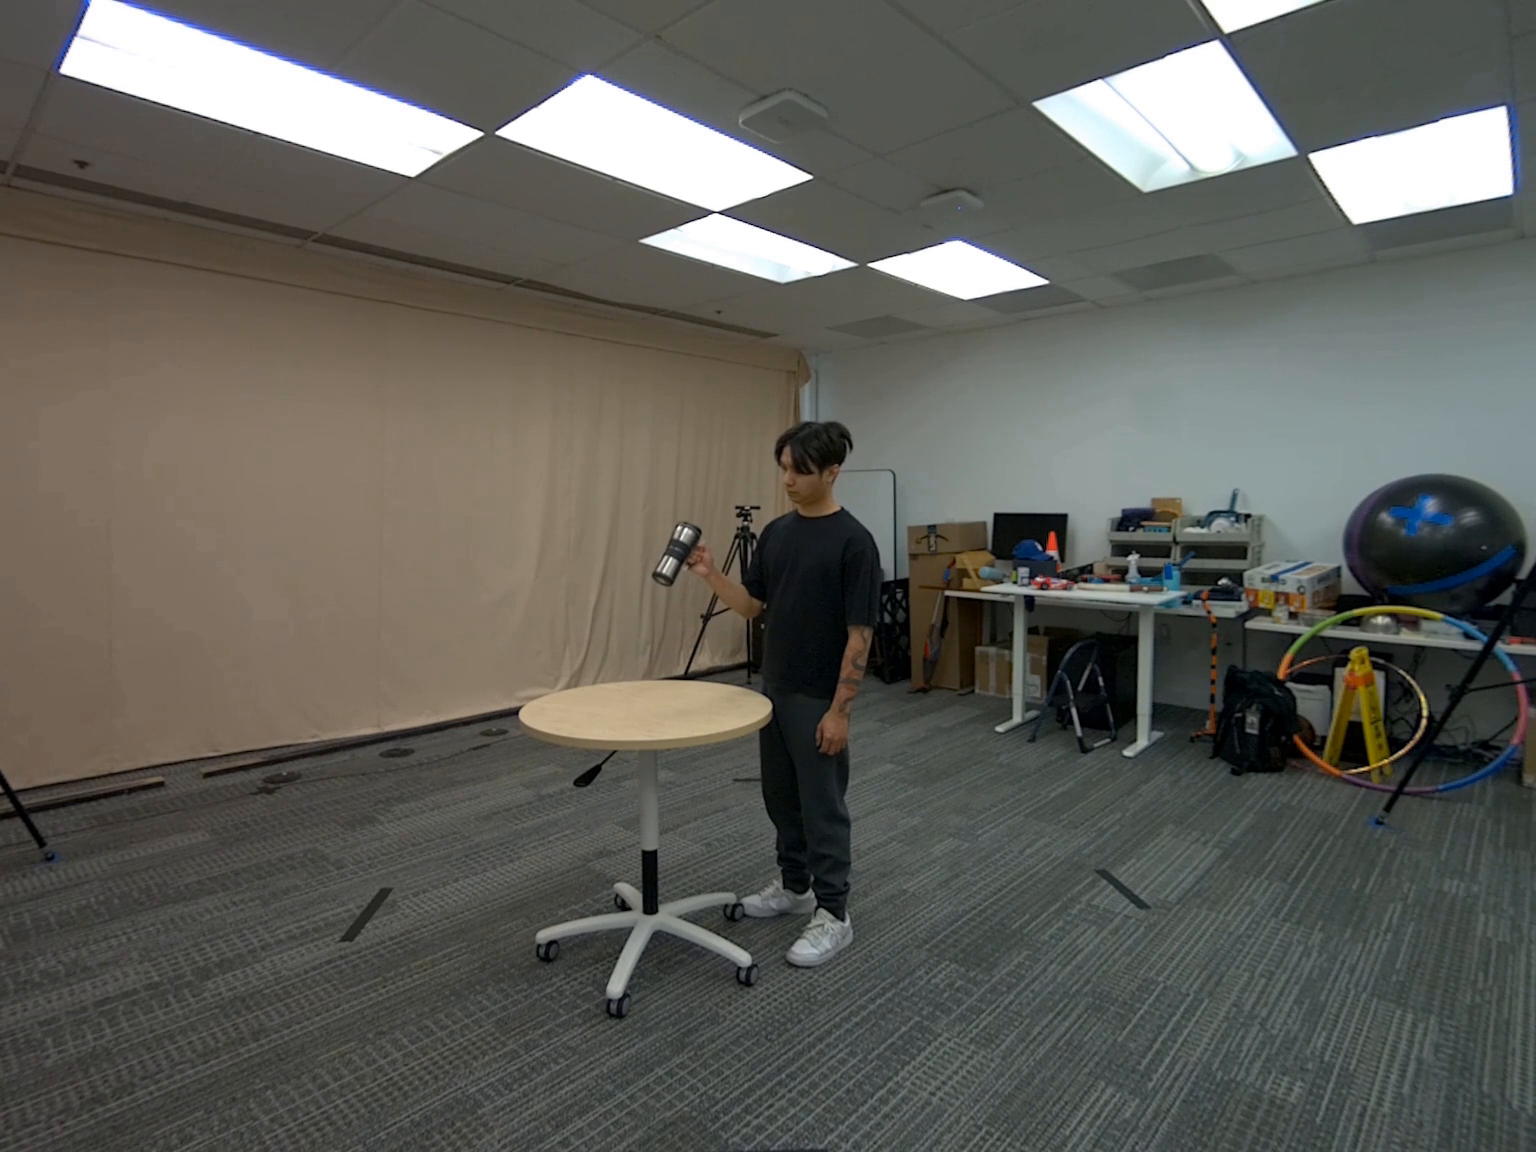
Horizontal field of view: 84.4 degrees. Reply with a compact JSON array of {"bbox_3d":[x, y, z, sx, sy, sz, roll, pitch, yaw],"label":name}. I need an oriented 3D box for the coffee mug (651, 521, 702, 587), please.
[{"bbox_3d":[-0.272,-0.061,2.622,0.126,0.203,0.085,9,-29,30],"label":"coffee mug"}]
